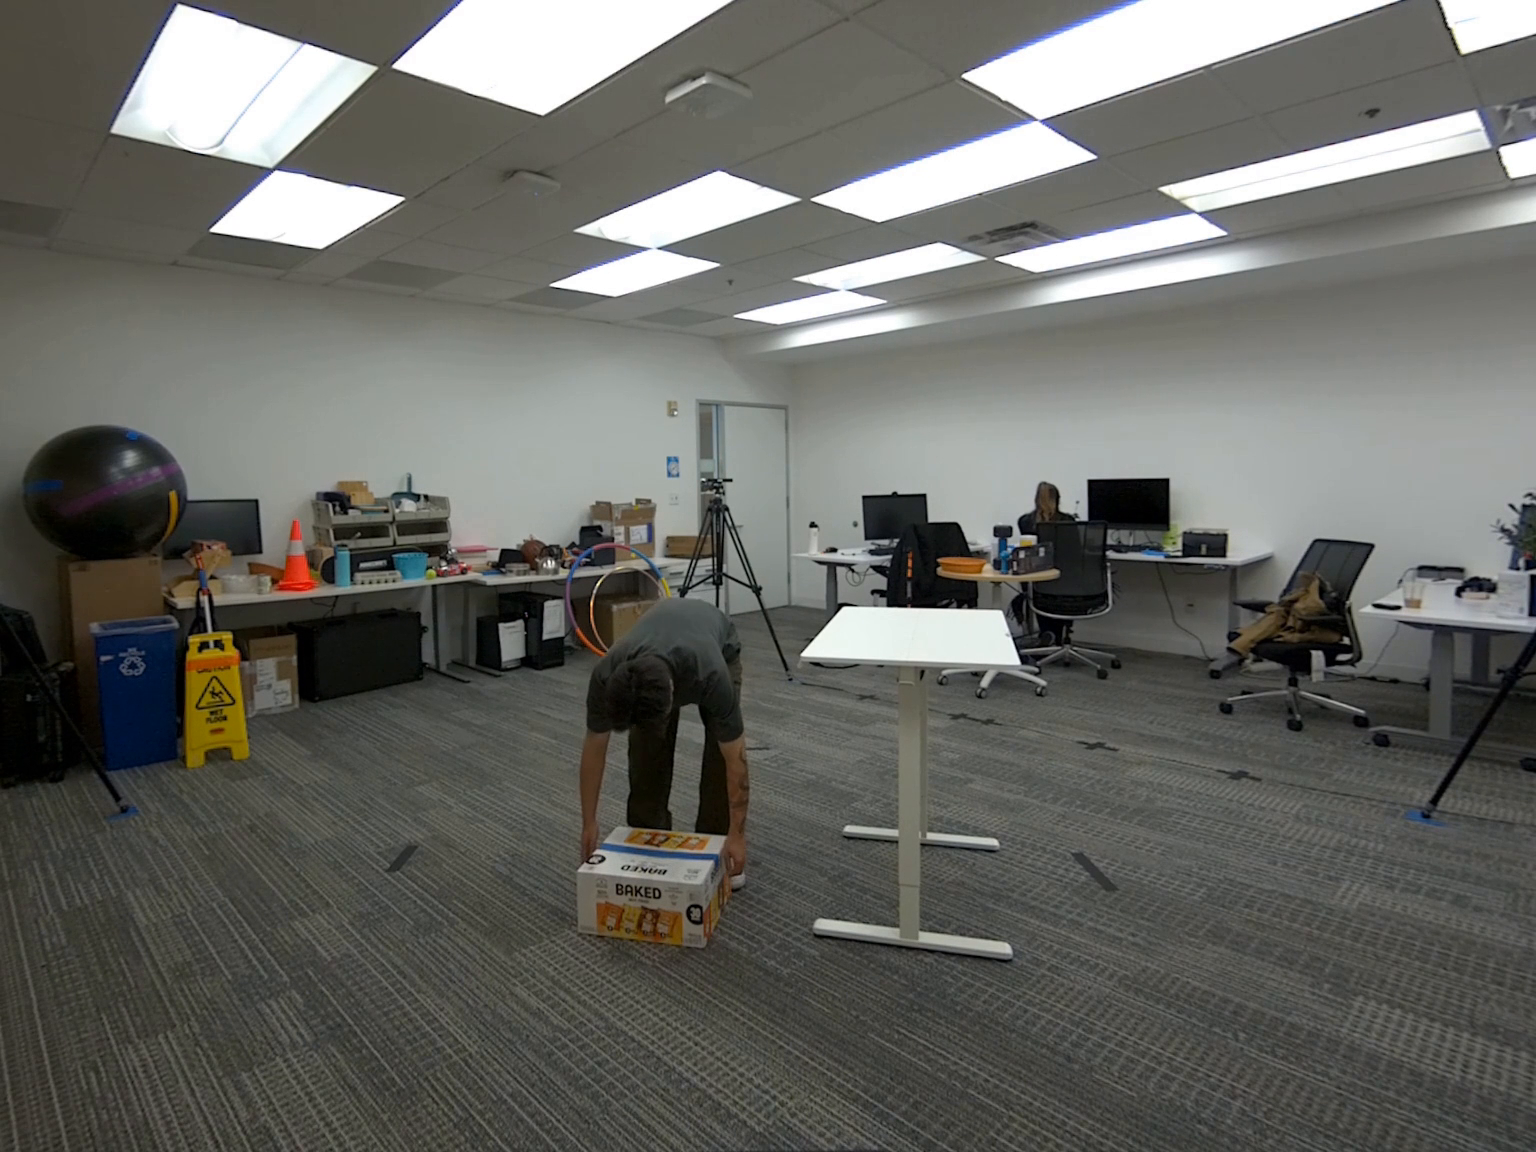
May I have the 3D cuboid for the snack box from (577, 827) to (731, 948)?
[{"bbox_3d":[-0.357,0.993,2.748,0.411,0.205,0.337,0,6,13],"label":"snack box"}]
